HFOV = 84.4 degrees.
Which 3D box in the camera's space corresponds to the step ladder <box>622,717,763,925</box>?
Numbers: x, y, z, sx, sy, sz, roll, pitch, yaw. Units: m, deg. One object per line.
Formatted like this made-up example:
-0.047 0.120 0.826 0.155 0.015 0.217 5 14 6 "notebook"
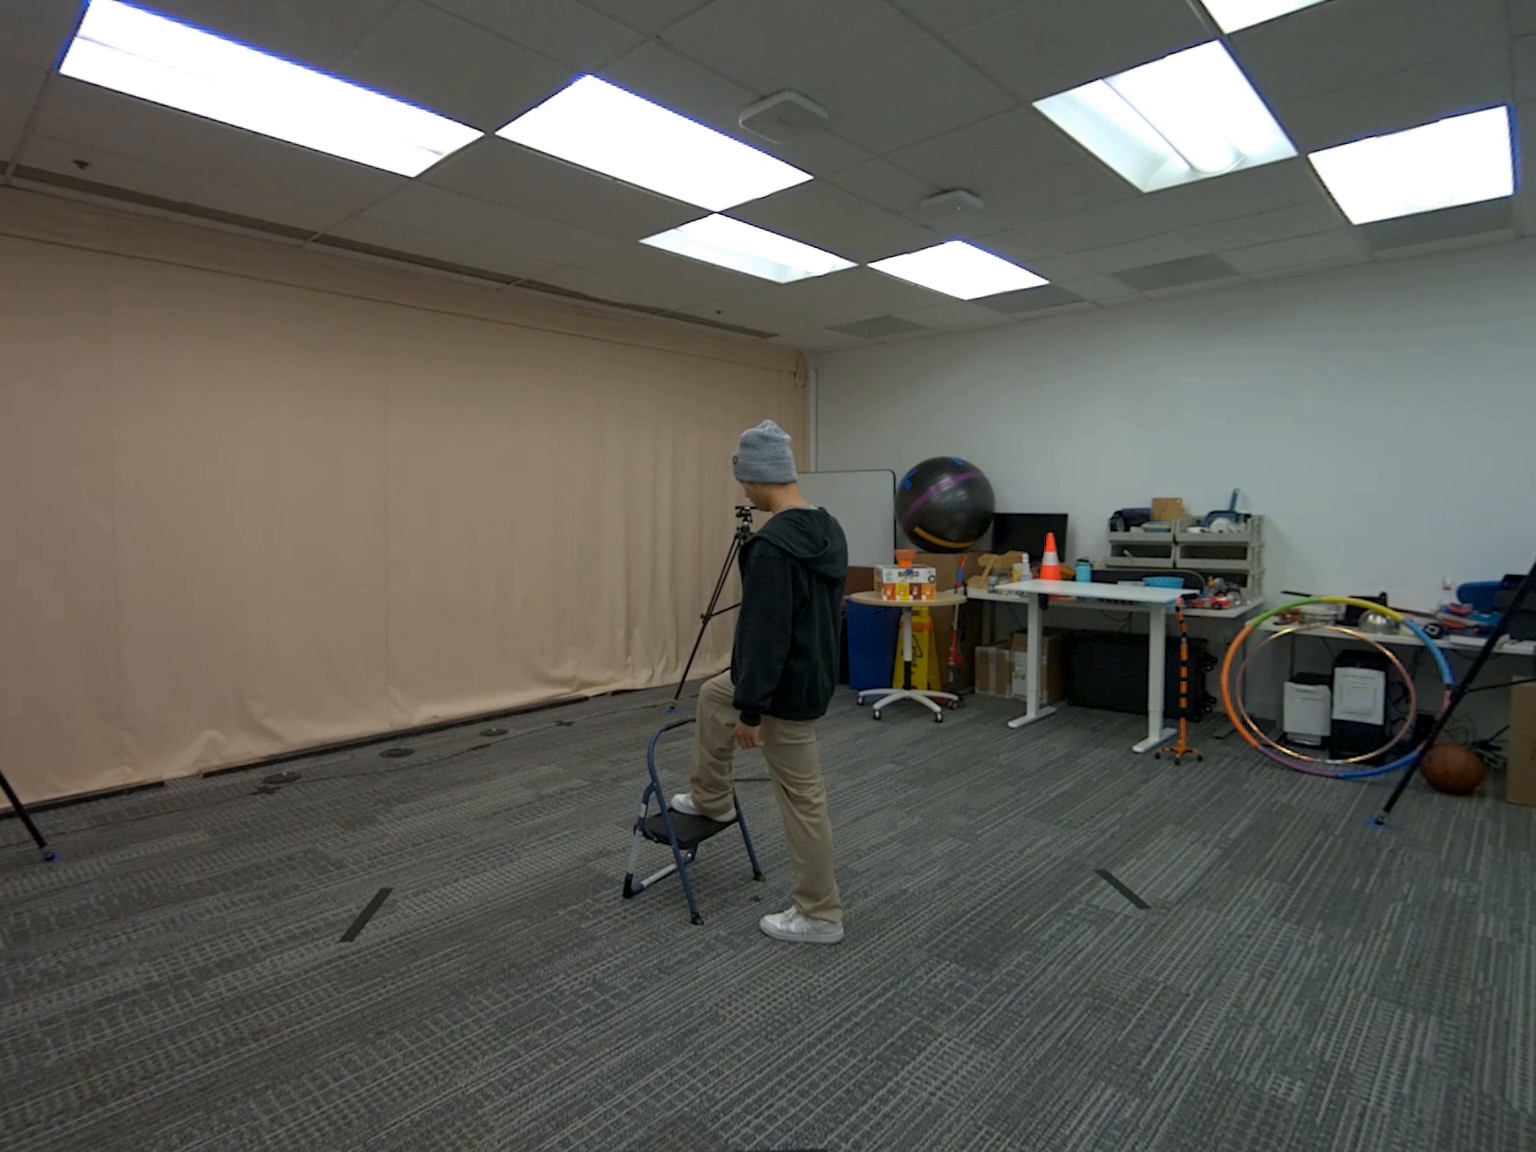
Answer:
-0.269 0.837 3.055 0.360 0.605 0.419 2 4 32 "step ladder"
